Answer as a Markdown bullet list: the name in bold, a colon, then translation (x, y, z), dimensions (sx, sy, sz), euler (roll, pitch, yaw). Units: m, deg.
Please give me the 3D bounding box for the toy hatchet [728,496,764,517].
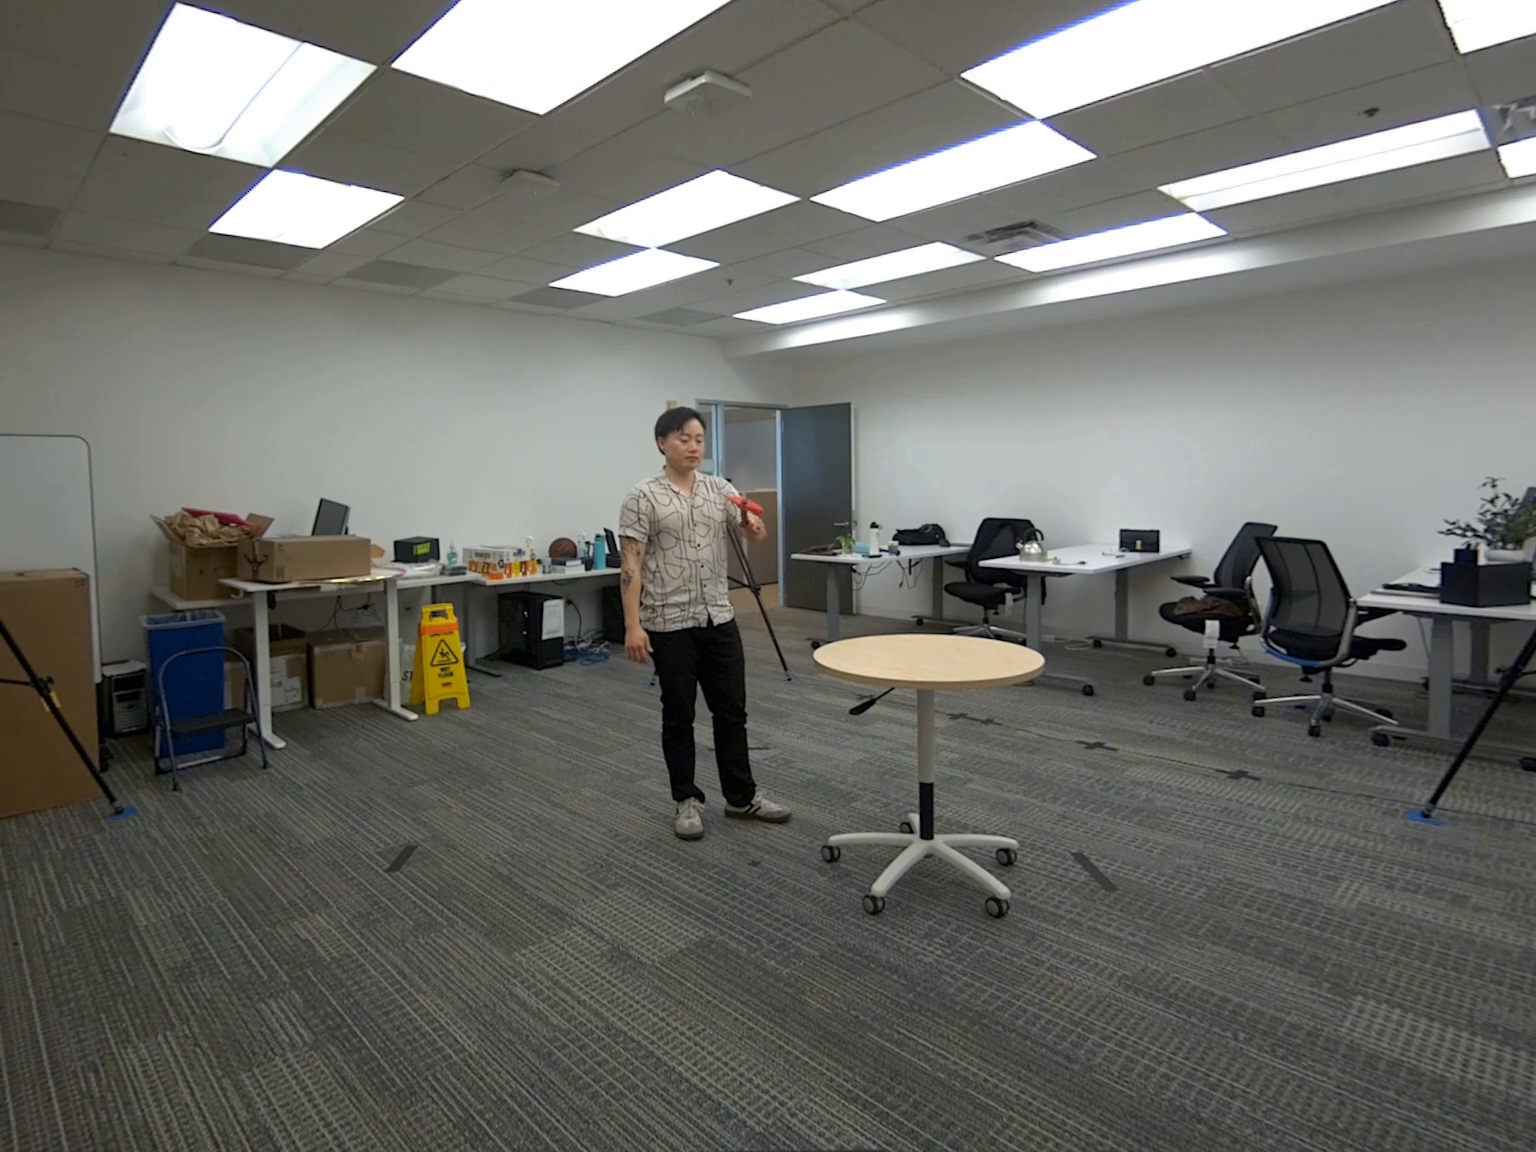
- **toy hatchet**: translation (-0.048, -0.205, 3.043), dimensions (0.134, 0.030, 0.261), euler (15, -17, 23)
